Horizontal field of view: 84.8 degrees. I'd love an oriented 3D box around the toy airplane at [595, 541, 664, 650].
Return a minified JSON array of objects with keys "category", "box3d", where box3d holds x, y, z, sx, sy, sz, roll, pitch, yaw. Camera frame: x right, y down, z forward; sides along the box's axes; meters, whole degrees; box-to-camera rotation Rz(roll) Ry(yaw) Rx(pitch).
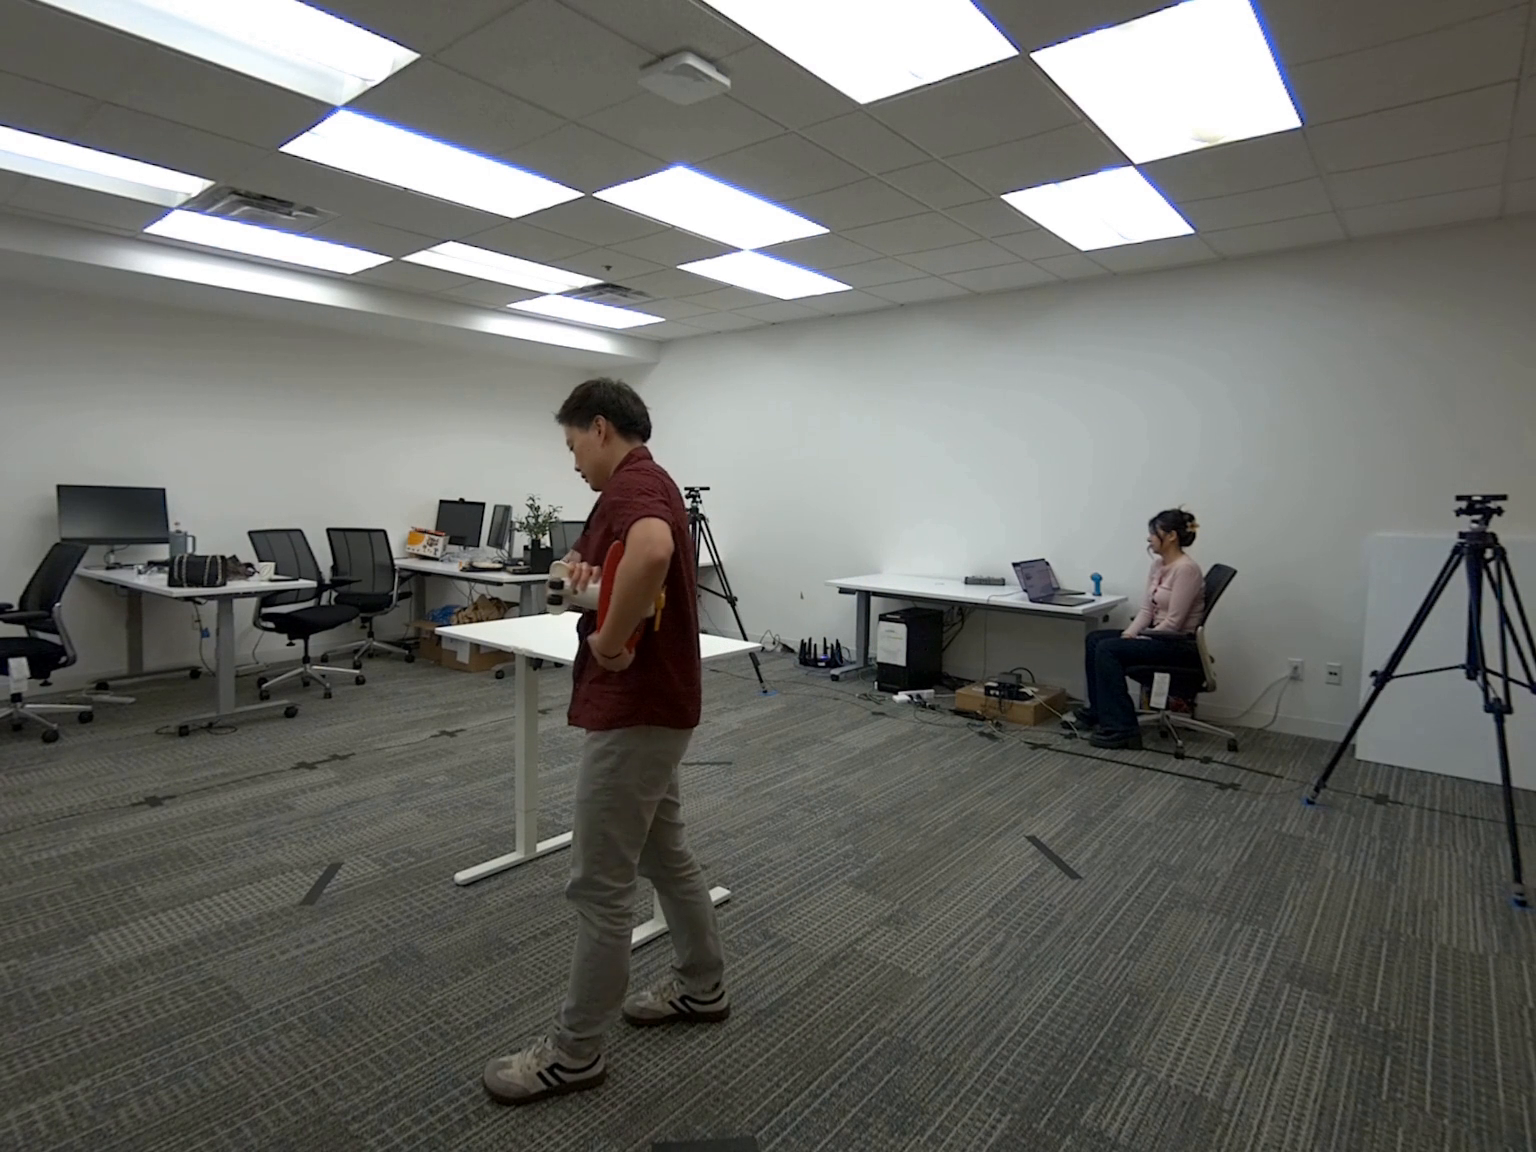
[{"category":"toy airplane","box3d":[-0.365,0.015,1.898,0.263,0.250,0.154,38,13,10]}]
